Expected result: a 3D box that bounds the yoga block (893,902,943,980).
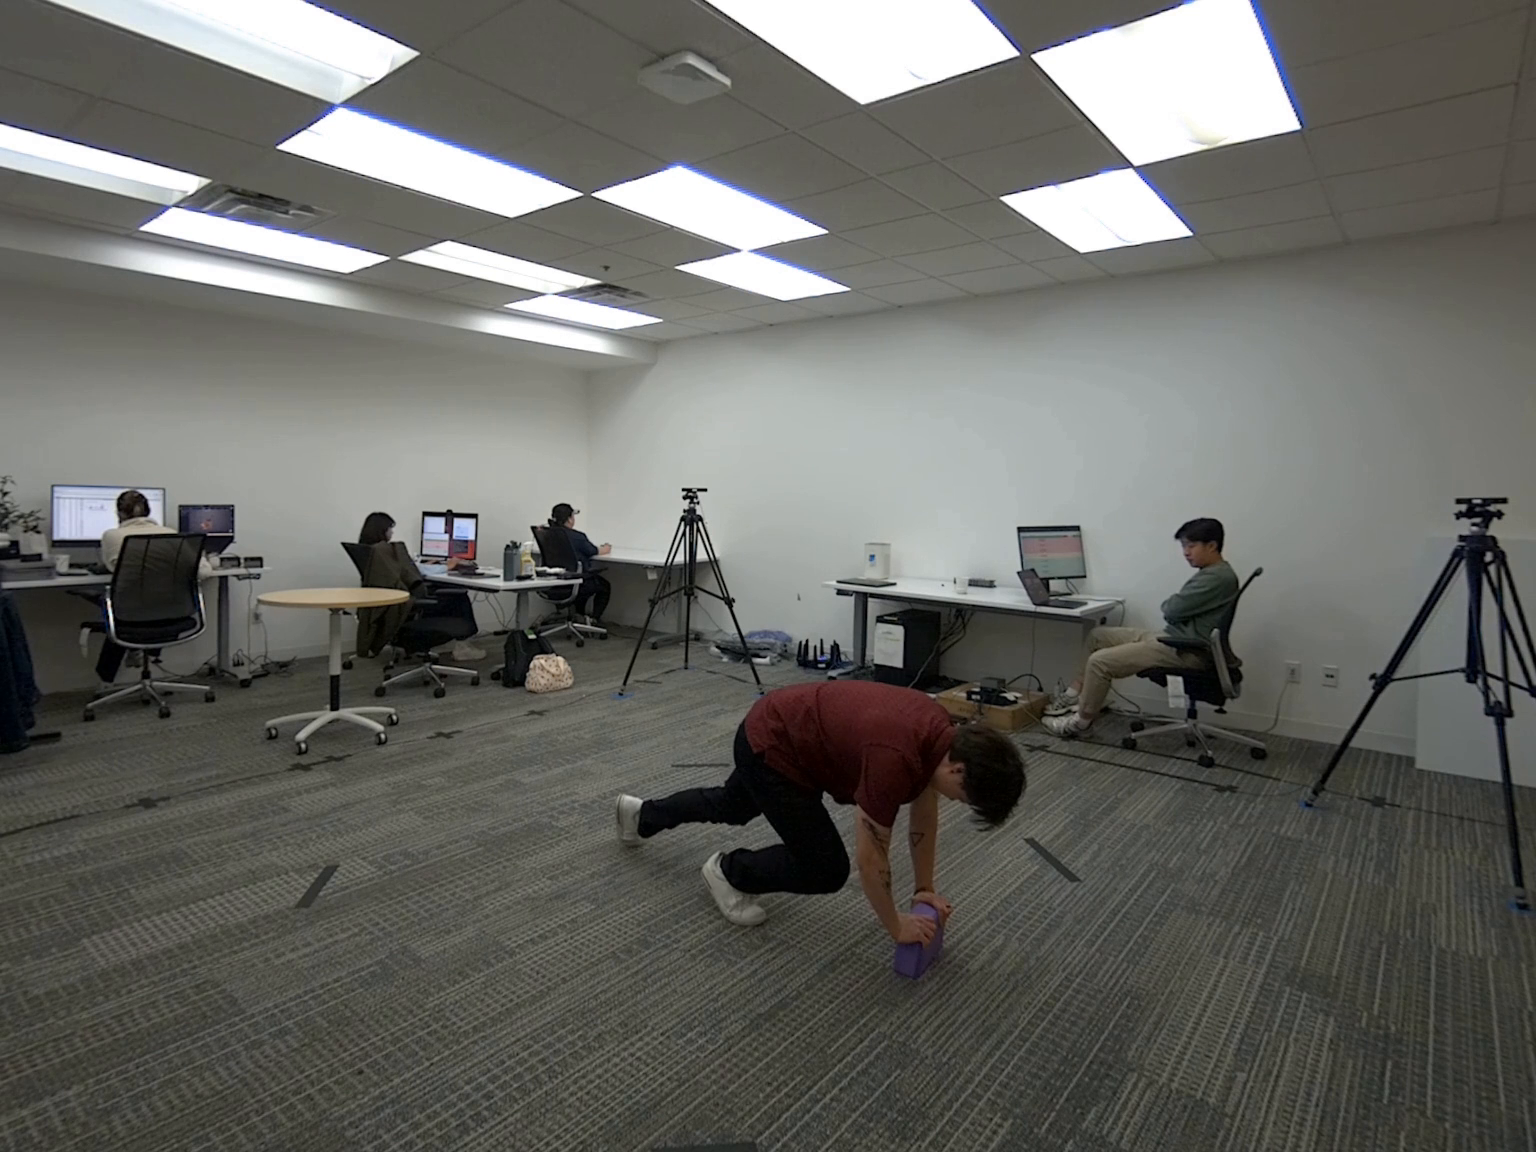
[{"bbox_3d":[0.453,1.073,2.540,0.079,0.148,0.223,9,8,31],"label":"yoga block"}]
